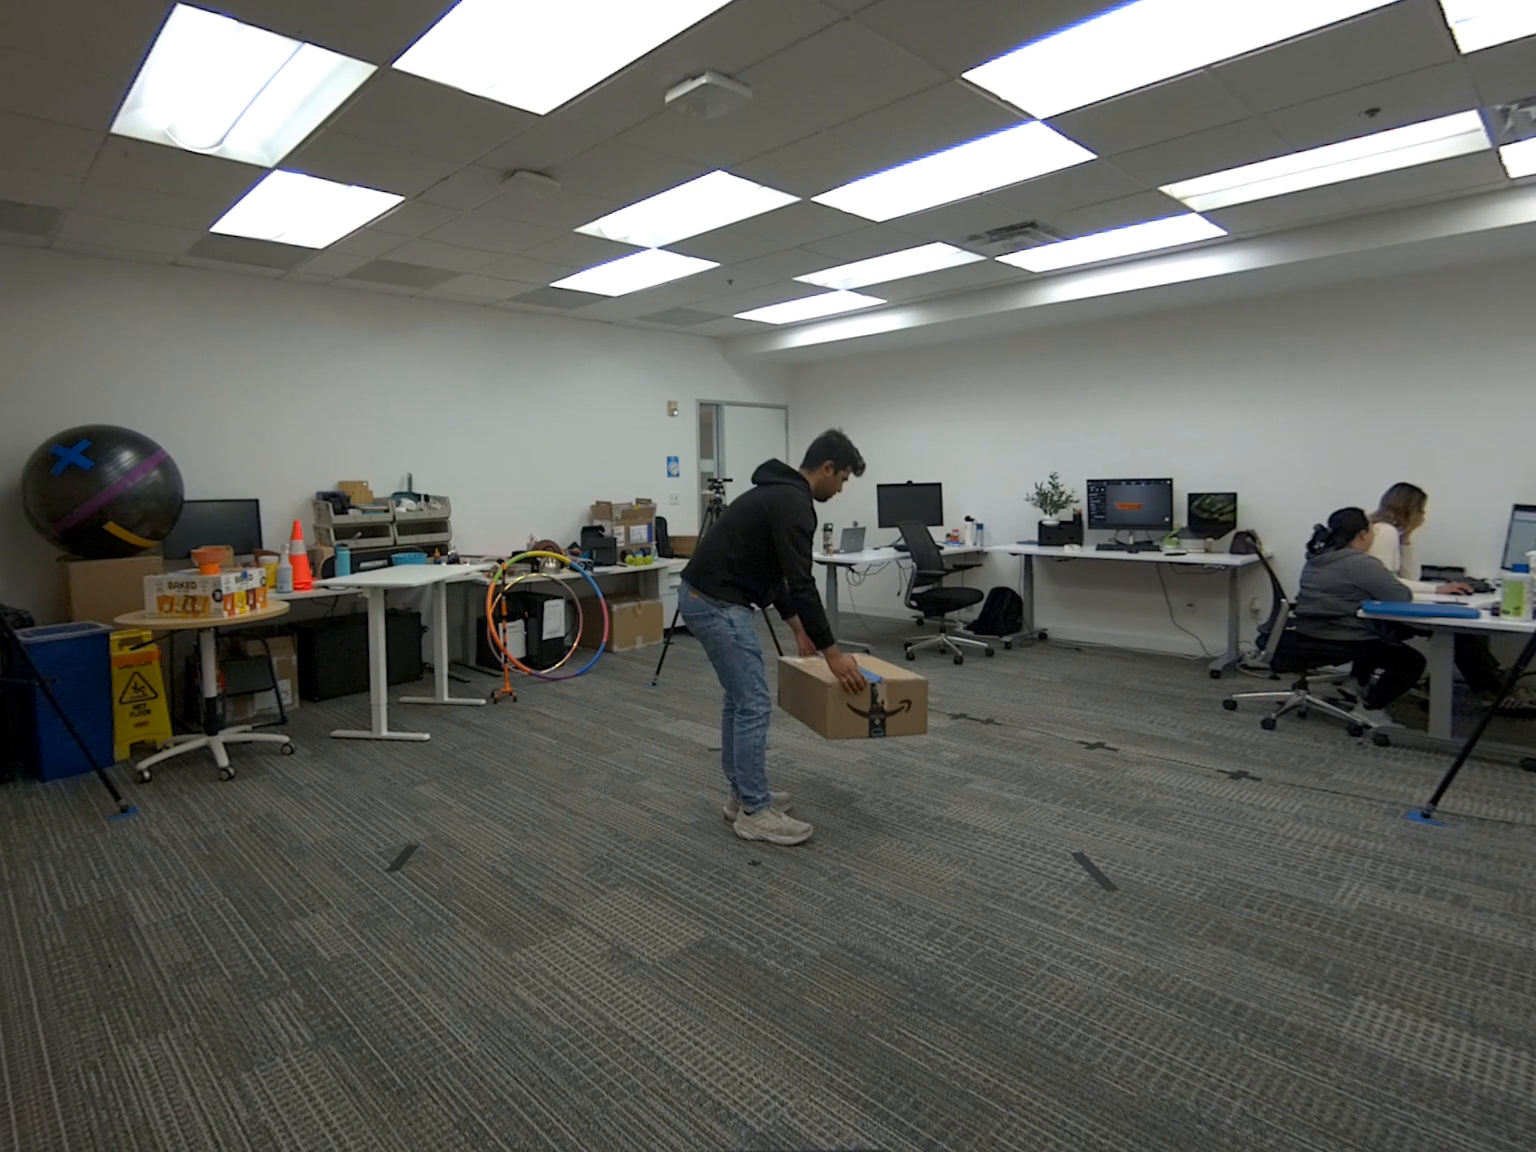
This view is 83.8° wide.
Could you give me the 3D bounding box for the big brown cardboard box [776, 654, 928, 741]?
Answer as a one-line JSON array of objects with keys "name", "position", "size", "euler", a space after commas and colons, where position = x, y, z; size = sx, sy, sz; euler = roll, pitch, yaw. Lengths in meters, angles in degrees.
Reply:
[{"name": "big brown cardboard box", "position": [0.323, 0.480, 3.490], "size": [0.411, 0.232, 0.600], "euler": [-1, 5, -17]}]
